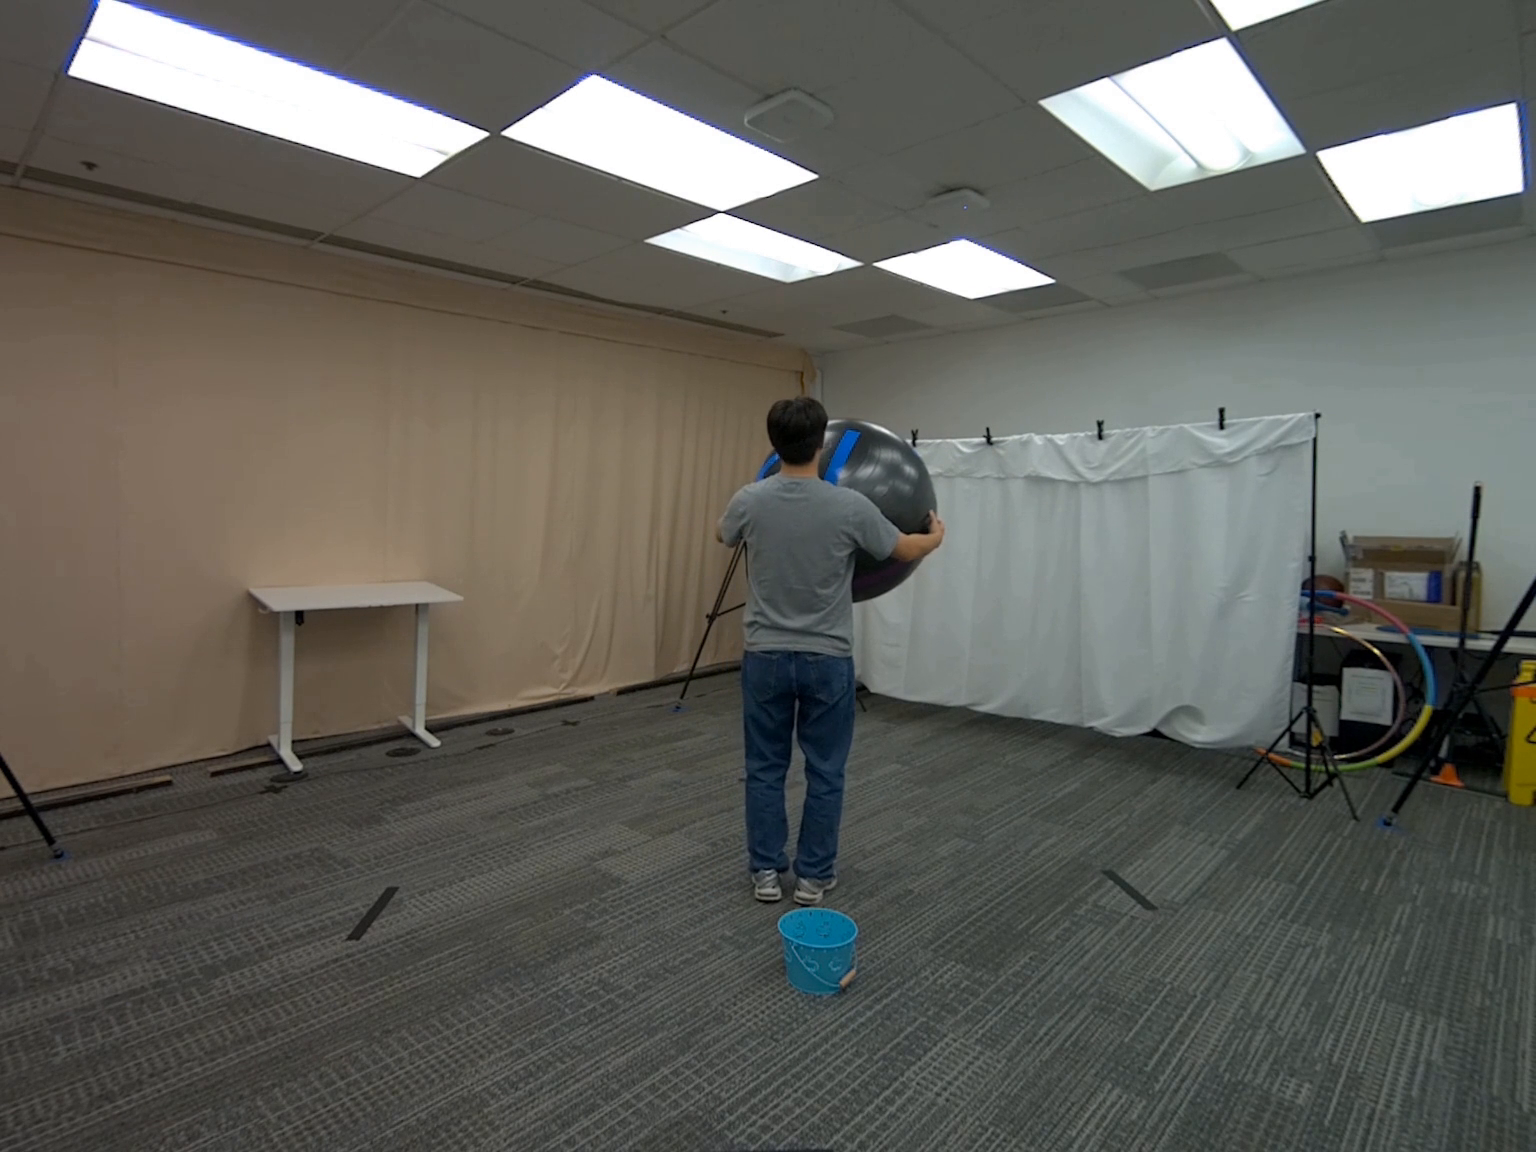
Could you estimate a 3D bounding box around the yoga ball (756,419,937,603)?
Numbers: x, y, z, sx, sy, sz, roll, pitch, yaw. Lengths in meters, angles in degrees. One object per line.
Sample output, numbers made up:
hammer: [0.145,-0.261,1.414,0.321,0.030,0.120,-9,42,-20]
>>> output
yoga ball: [0.309,-0.258,3.465,0.757,0.756,0.761,0,4,-2]
